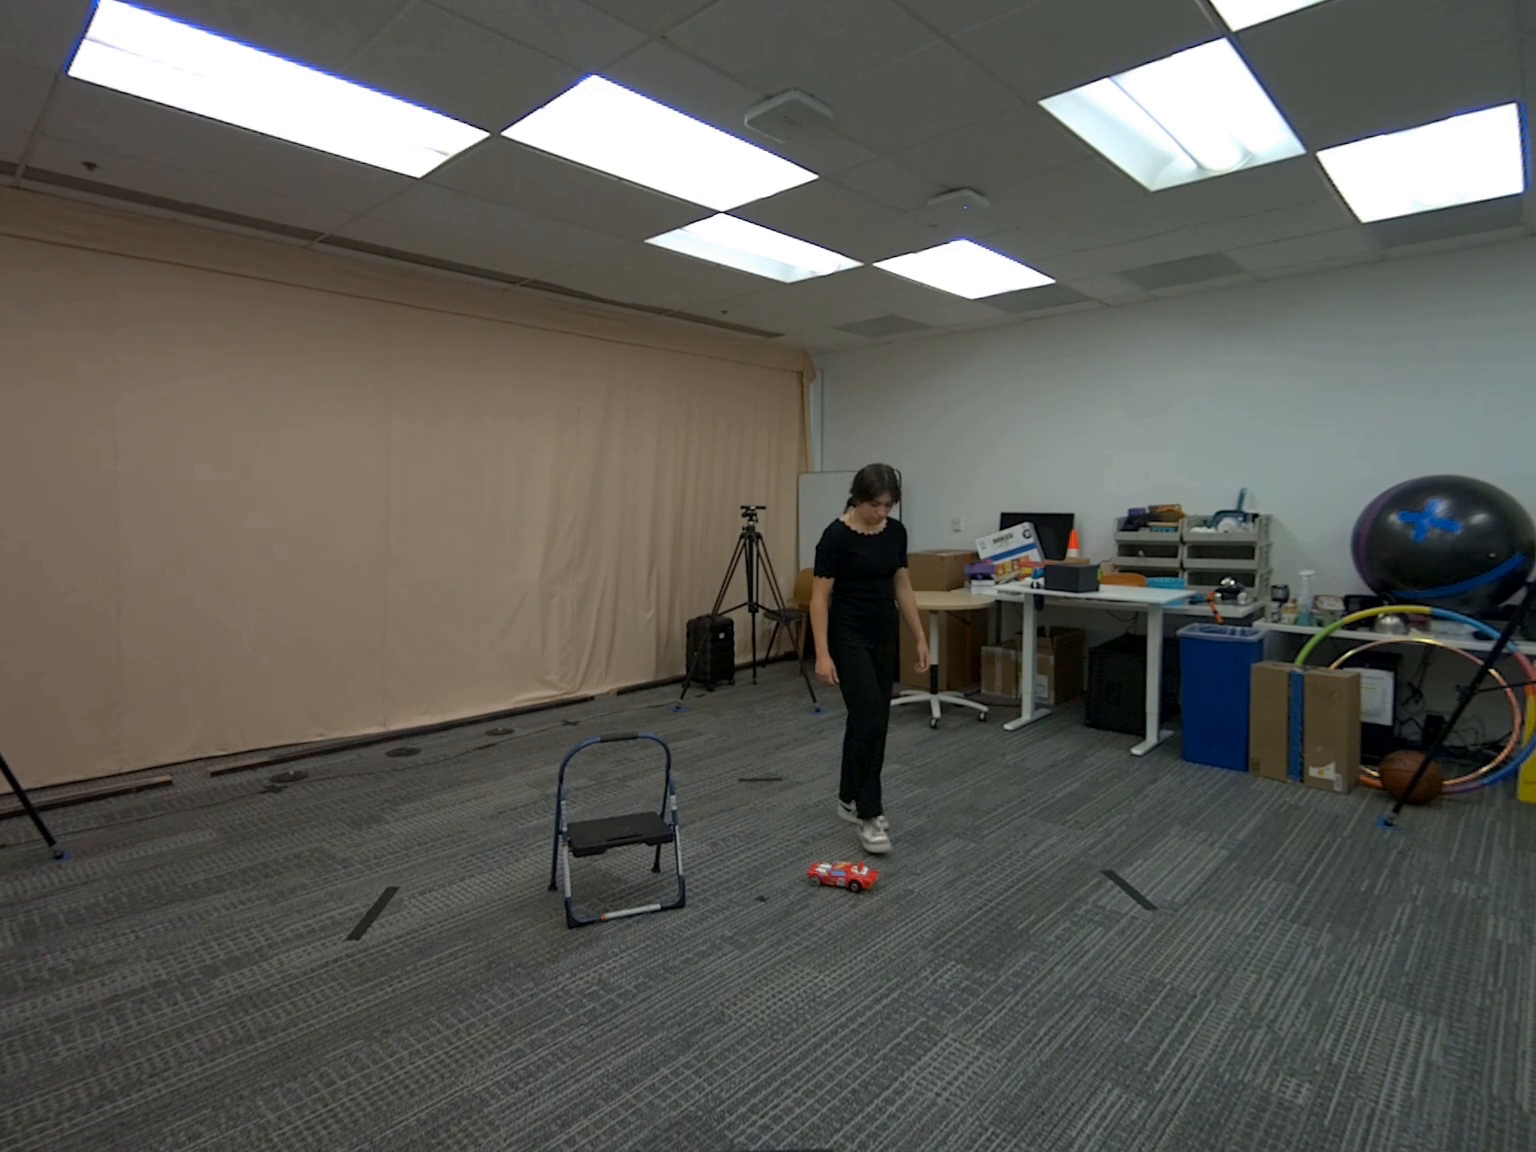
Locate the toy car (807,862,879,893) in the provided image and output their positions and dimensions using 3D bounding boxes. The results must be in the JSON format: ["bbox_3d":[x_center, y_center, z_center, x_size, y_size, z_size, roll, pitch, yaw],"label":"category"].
[{"bbox_3d":[0.290,1.107,3.085,0.259,0.083,0.127,-10,-3,20],"label":"toy car"}]
